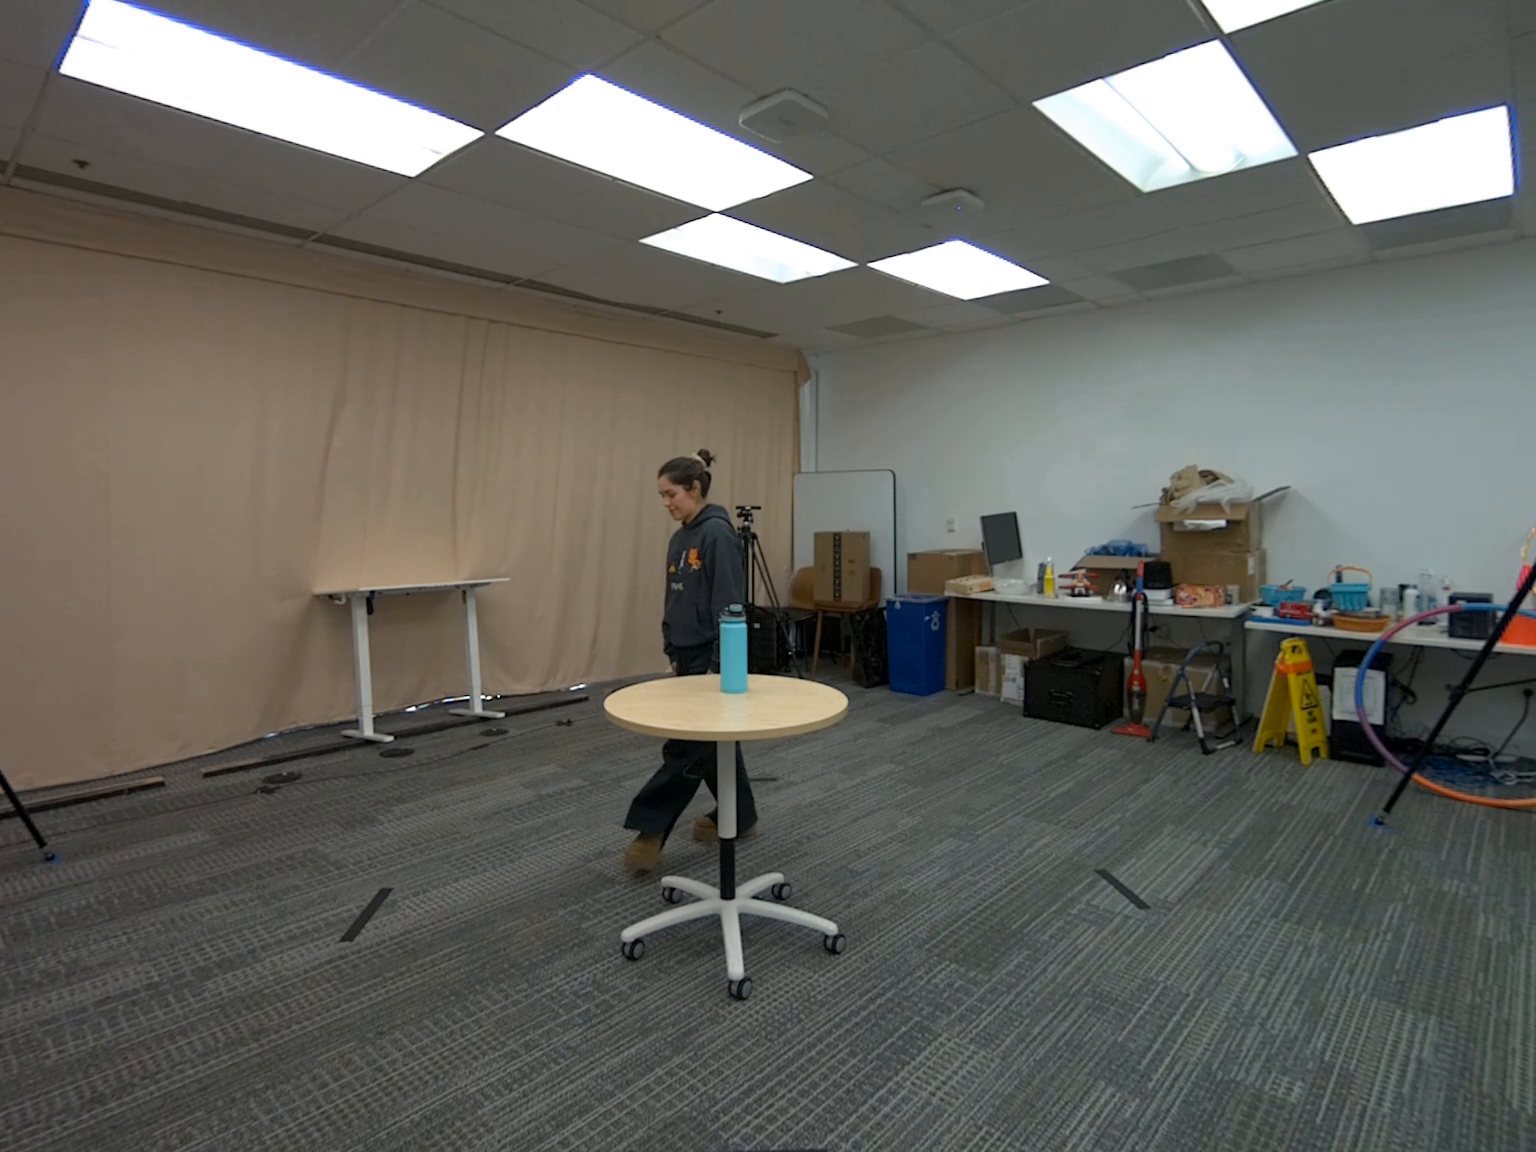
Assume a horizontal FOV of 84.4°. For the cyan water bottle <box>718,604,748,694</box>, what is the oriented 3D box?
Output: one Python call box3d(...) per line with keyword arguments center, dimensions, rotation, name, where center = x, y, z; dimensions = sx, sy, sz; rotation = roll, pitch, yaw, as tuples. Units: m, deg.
box3d(center=(-0.103, 0.238, 2.778), dimensions=(0.092, 0.283, 0.092), rotation=(0, 2, -2), name="cyan water bottle")
